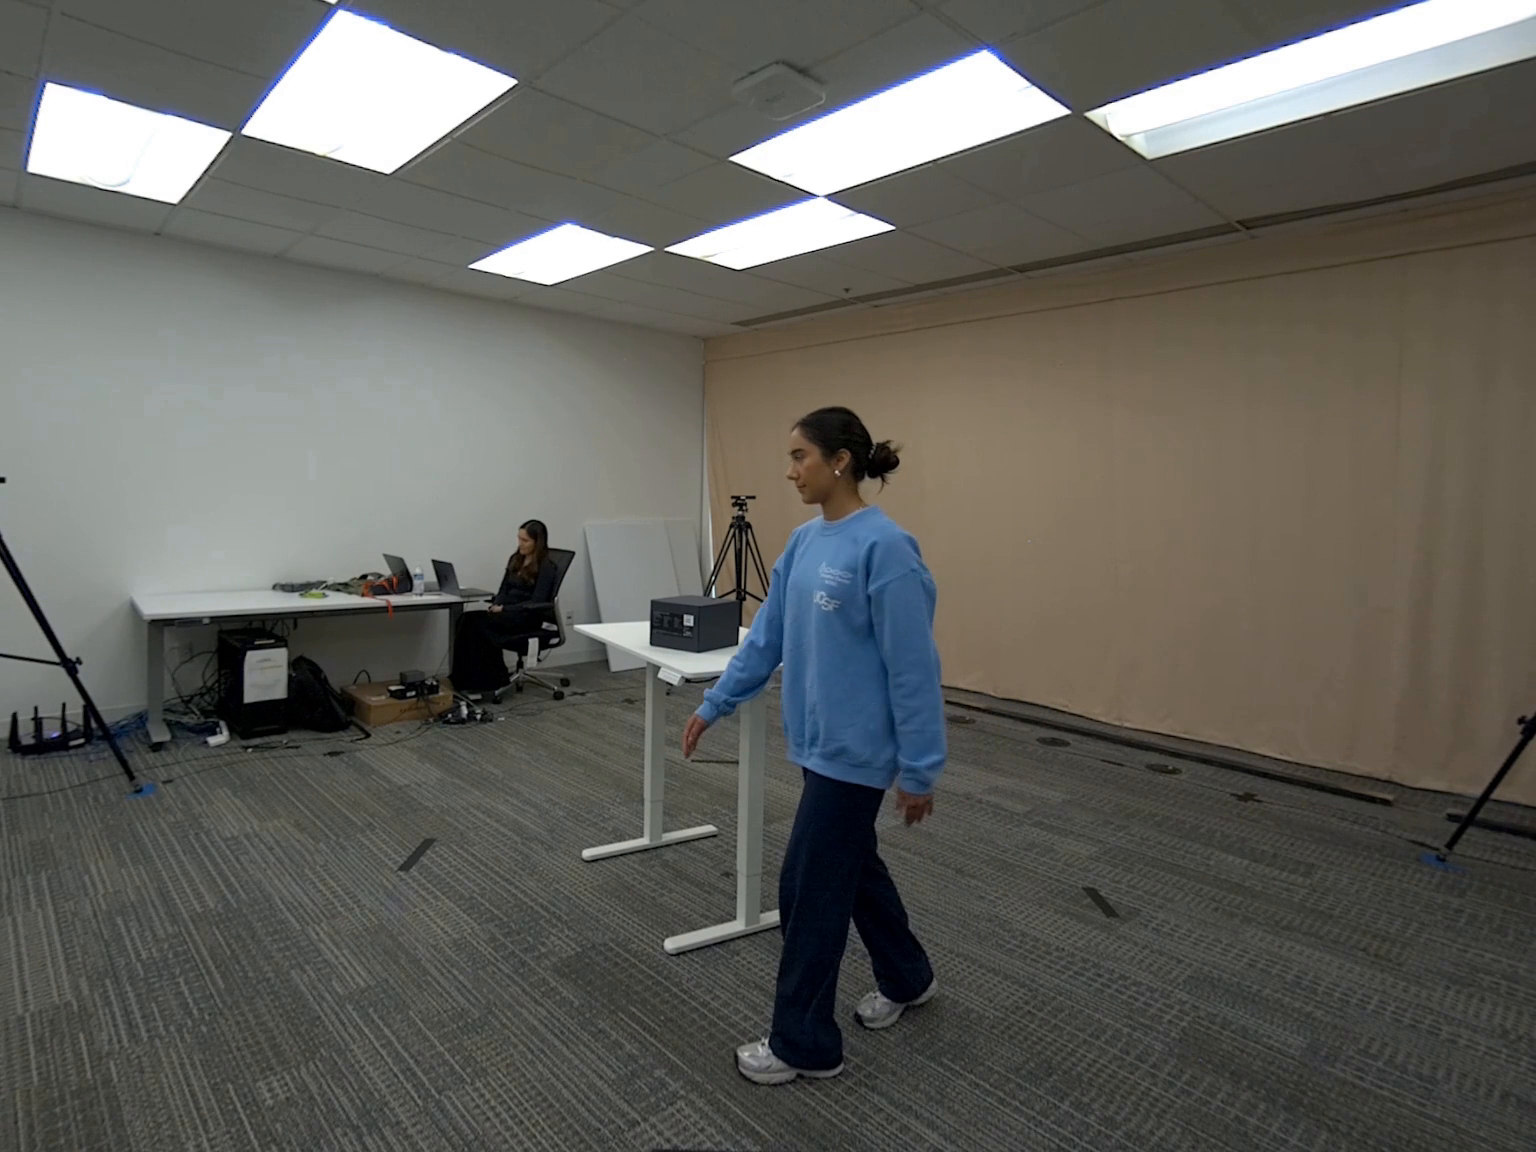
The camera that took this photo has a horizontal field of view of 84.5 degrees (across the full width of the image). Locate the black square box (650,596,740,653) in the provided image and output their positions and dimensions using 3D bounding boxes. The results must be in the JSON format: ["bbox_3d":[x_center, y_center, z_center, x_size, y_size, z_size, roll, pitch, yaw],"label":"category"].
[{"bbox_3d":[-0.254,0.159,2.867,0.222,0.155,0.223,5,5,35],"label":"black square box"}]
